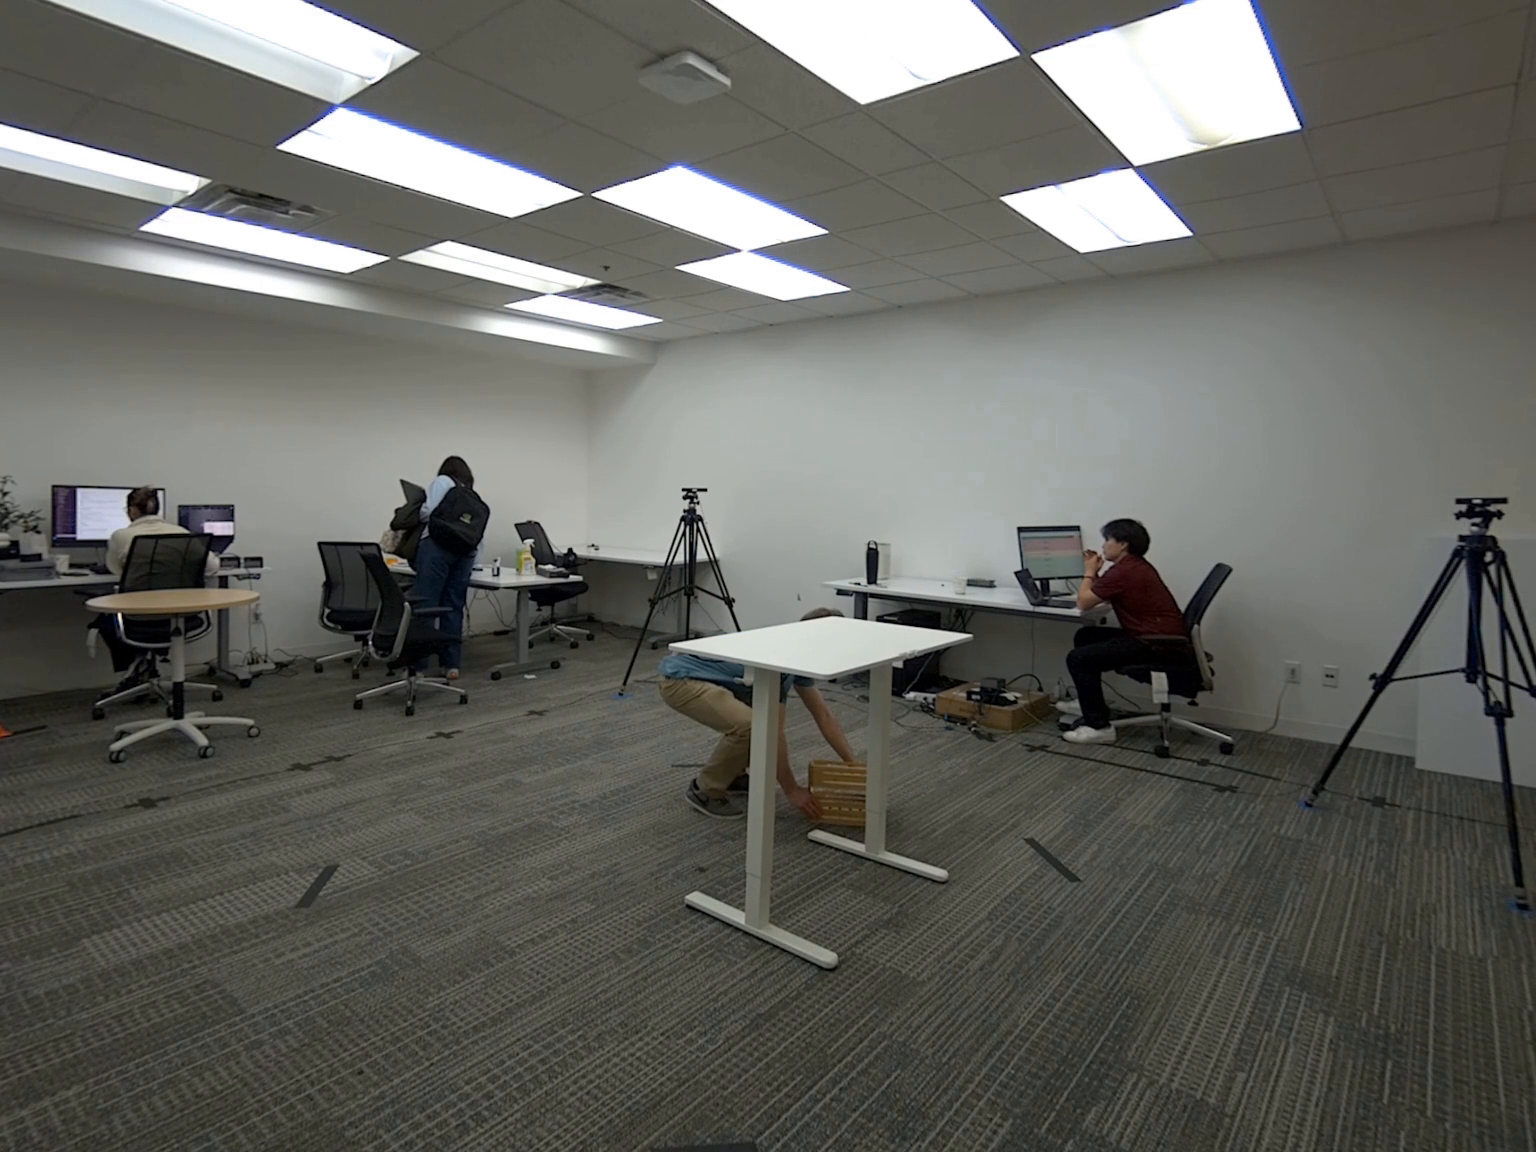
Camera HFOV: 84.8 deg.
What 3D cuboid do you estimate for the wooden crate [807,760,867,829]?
[{"bbox_3d":[0.329,0.900,3.656,0.326,0.273,0.301,1,3,4],"label":"wooden crate"}]
